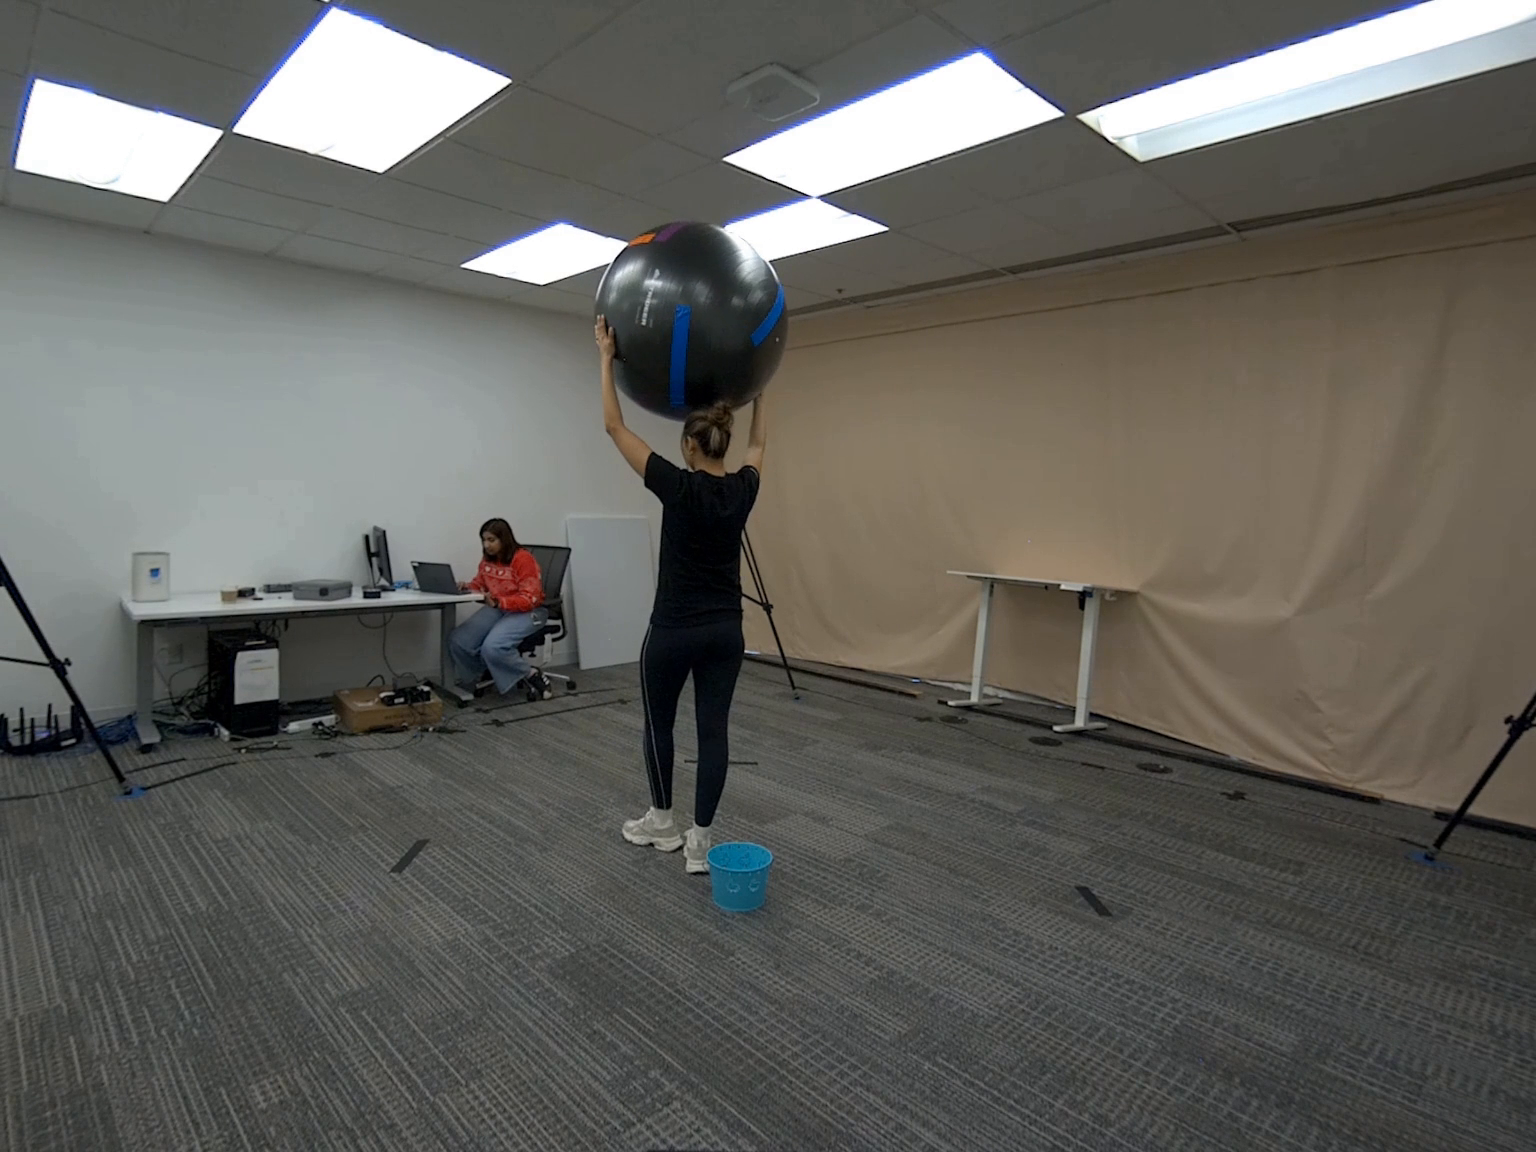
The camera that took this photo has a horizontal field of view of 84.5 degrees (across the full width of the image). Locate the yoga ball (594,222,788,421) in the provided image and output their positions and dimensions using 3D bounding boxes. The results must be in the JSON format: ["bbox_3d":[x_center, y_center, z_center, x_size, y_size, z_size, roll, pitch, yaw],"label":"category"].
[{"bbox_3d":[-0.309,-0.978,3.290,0.757,0.756,0.761,1,4,-1],"label":"yoga ball"}]
